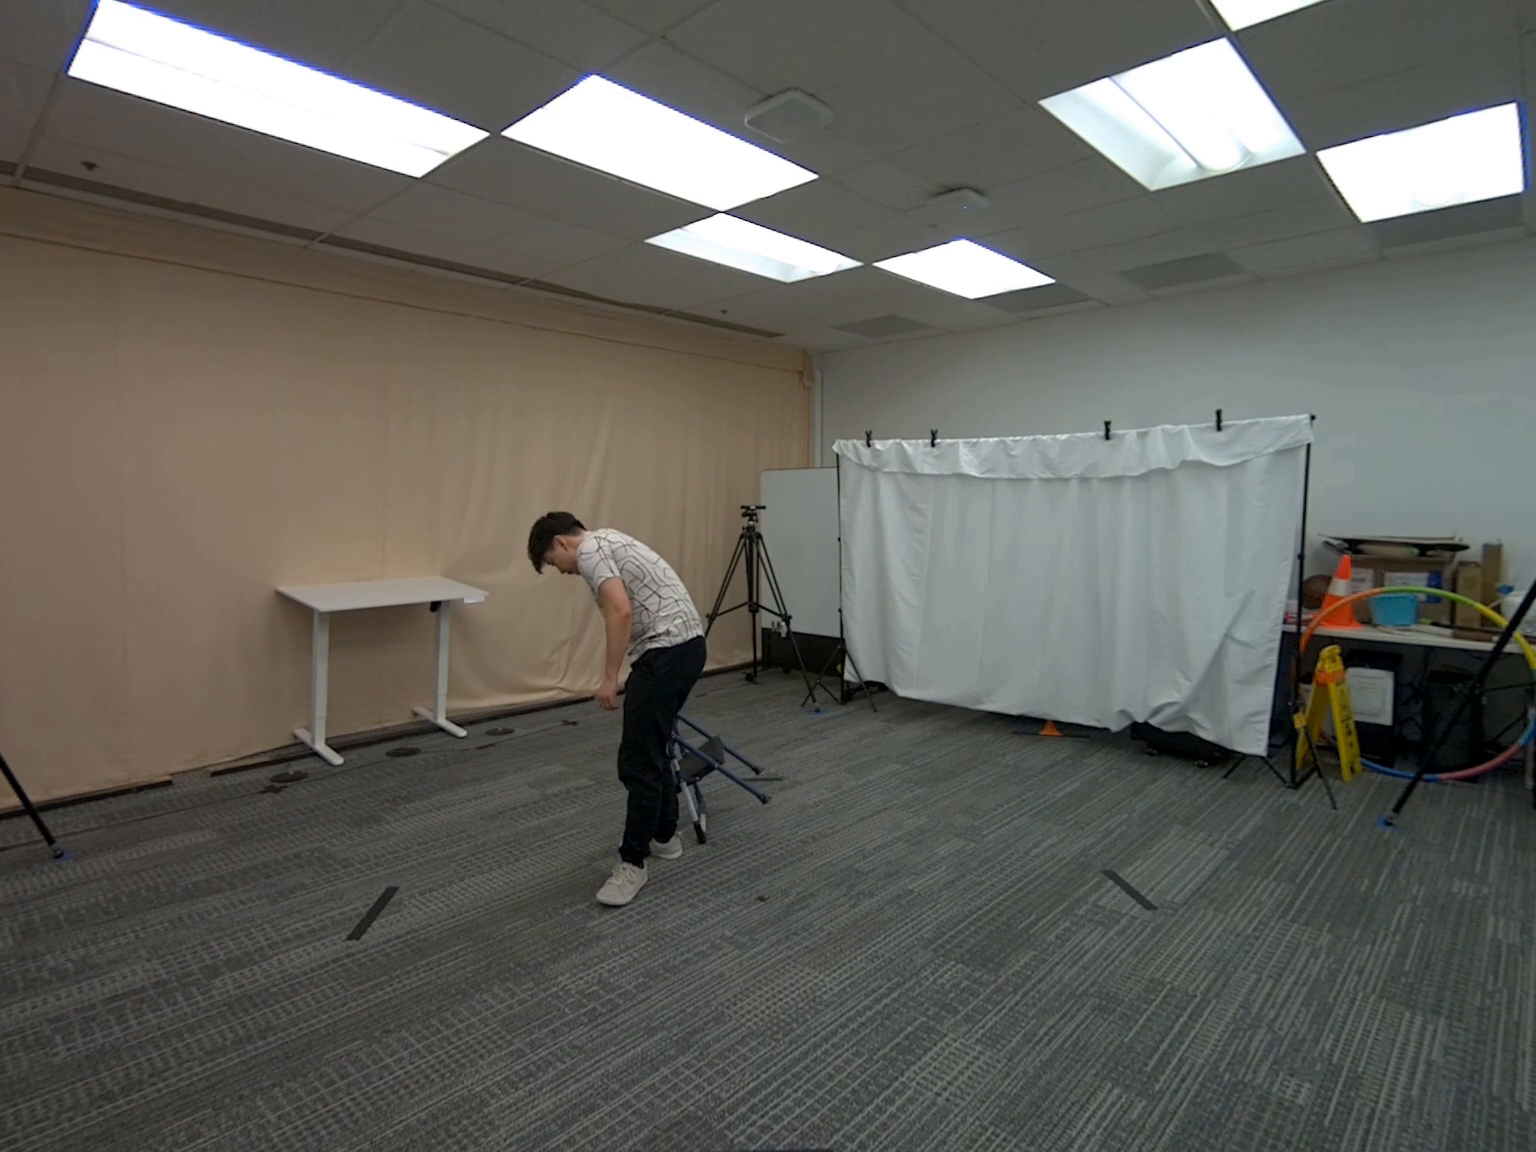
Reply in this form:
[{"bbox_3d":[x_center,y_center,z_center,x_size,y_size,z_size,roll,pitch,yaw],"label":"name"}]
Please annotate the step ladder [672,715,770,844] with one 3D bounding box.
[{"bbox_3d":[-0.316,0.754,3.654,0.349,0.604,0.432,-35,4,-1],"label":"step ladder"}]
